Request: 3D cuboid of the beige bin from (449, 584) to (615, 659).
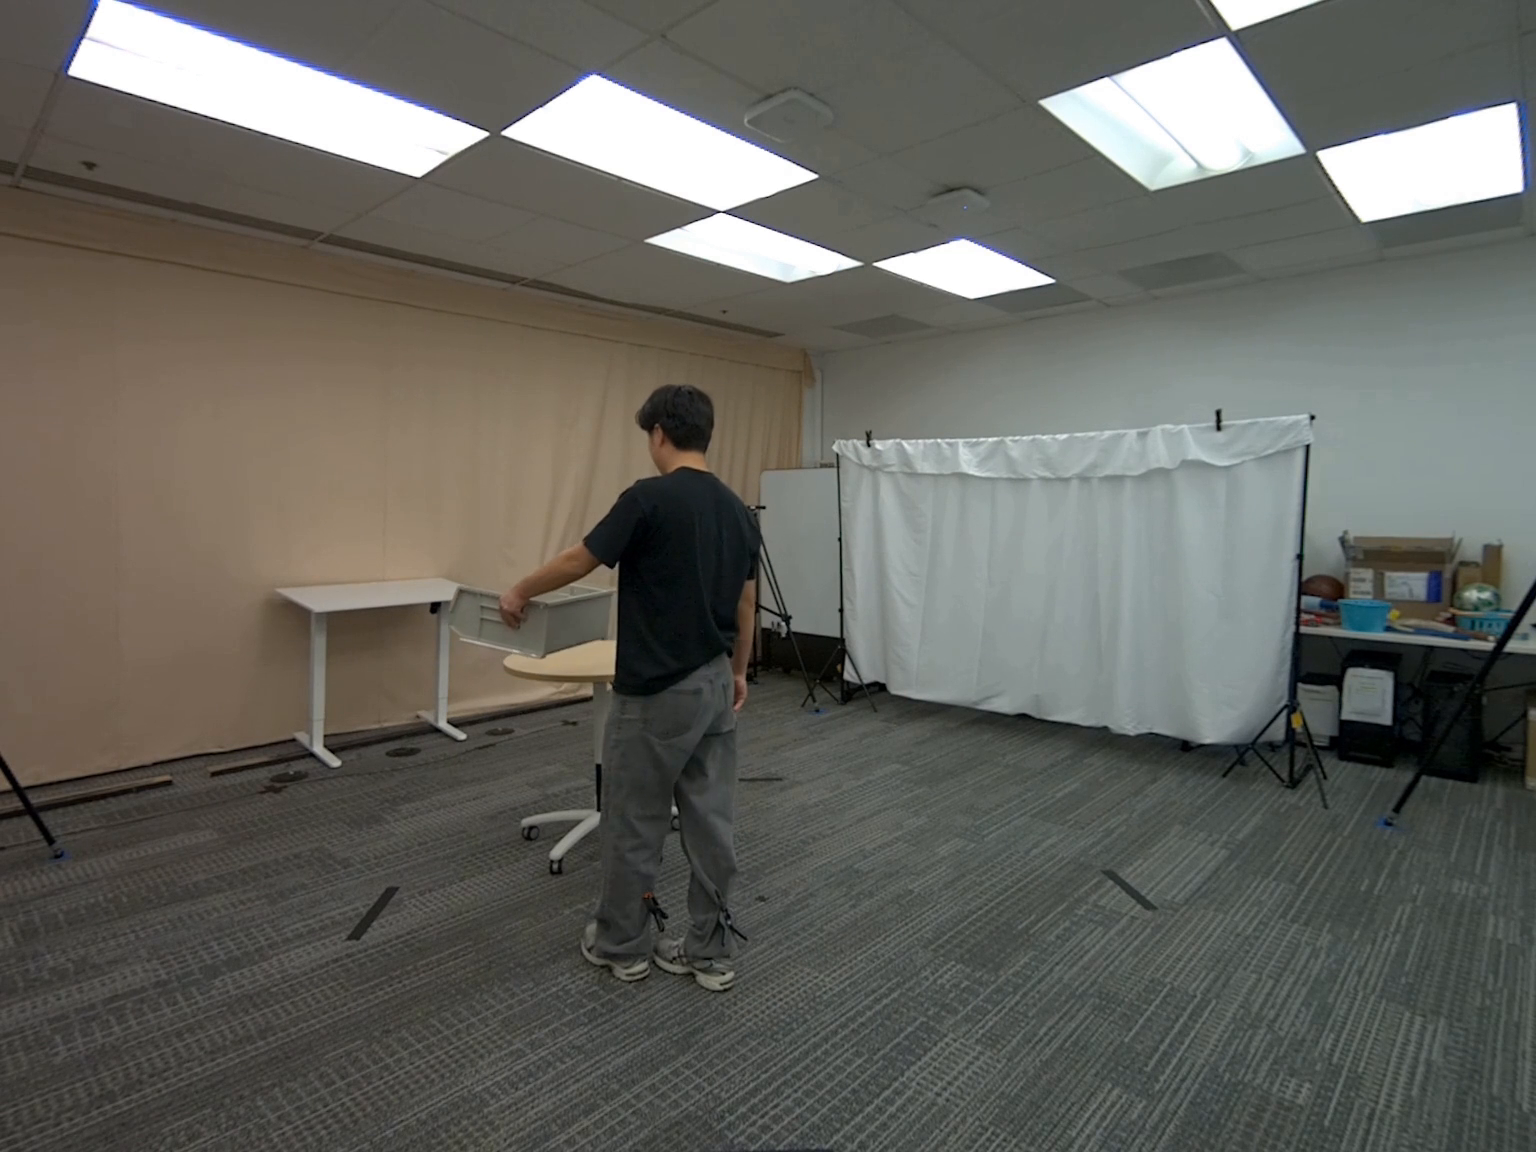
[{"bbox_3d":[-0.765,0.123,2.810,0.387,0.188,0.413,9,7,21],"label":"beige bin"}]
